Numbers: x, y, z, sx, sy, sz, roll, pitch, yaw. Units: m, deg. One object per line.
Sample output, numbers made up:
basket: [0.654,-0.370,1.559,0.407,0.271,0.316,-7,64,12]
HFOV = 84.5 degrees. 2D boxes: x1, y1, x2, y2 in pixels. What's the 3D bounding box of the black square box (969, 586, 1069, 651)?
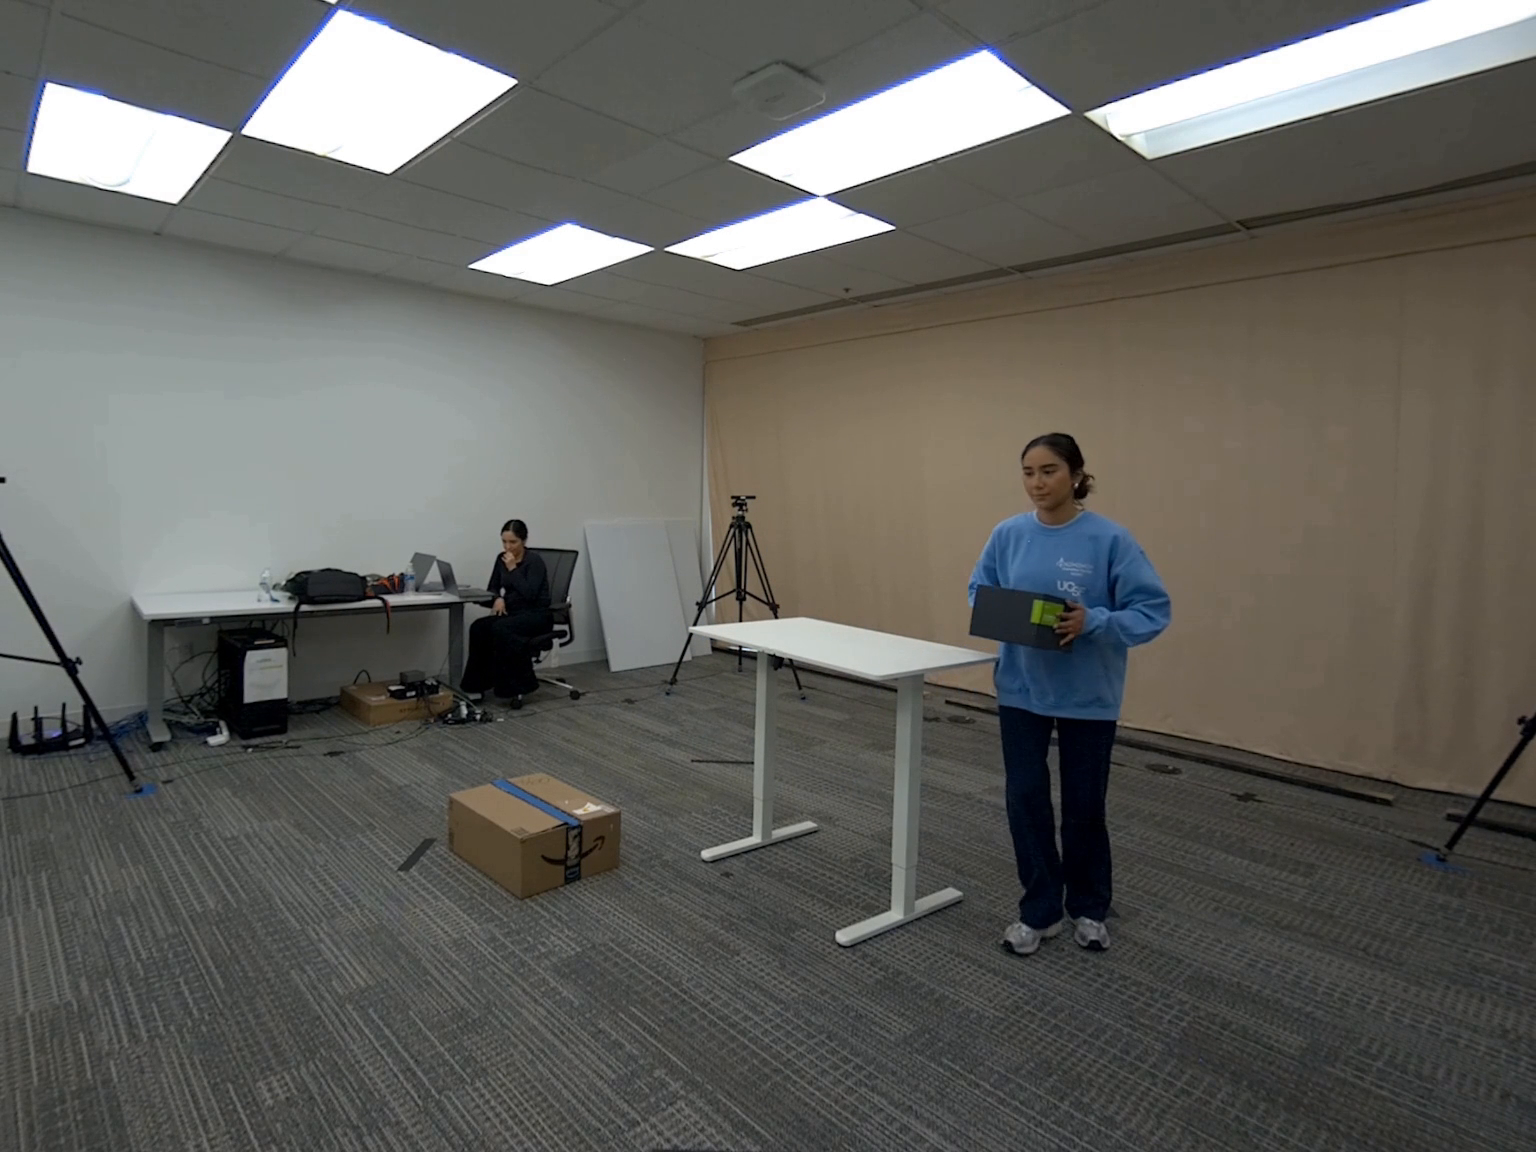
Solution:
black square box: [0.763,0.128,2.488,0.223,0.156,0.222,9,-1,42]
